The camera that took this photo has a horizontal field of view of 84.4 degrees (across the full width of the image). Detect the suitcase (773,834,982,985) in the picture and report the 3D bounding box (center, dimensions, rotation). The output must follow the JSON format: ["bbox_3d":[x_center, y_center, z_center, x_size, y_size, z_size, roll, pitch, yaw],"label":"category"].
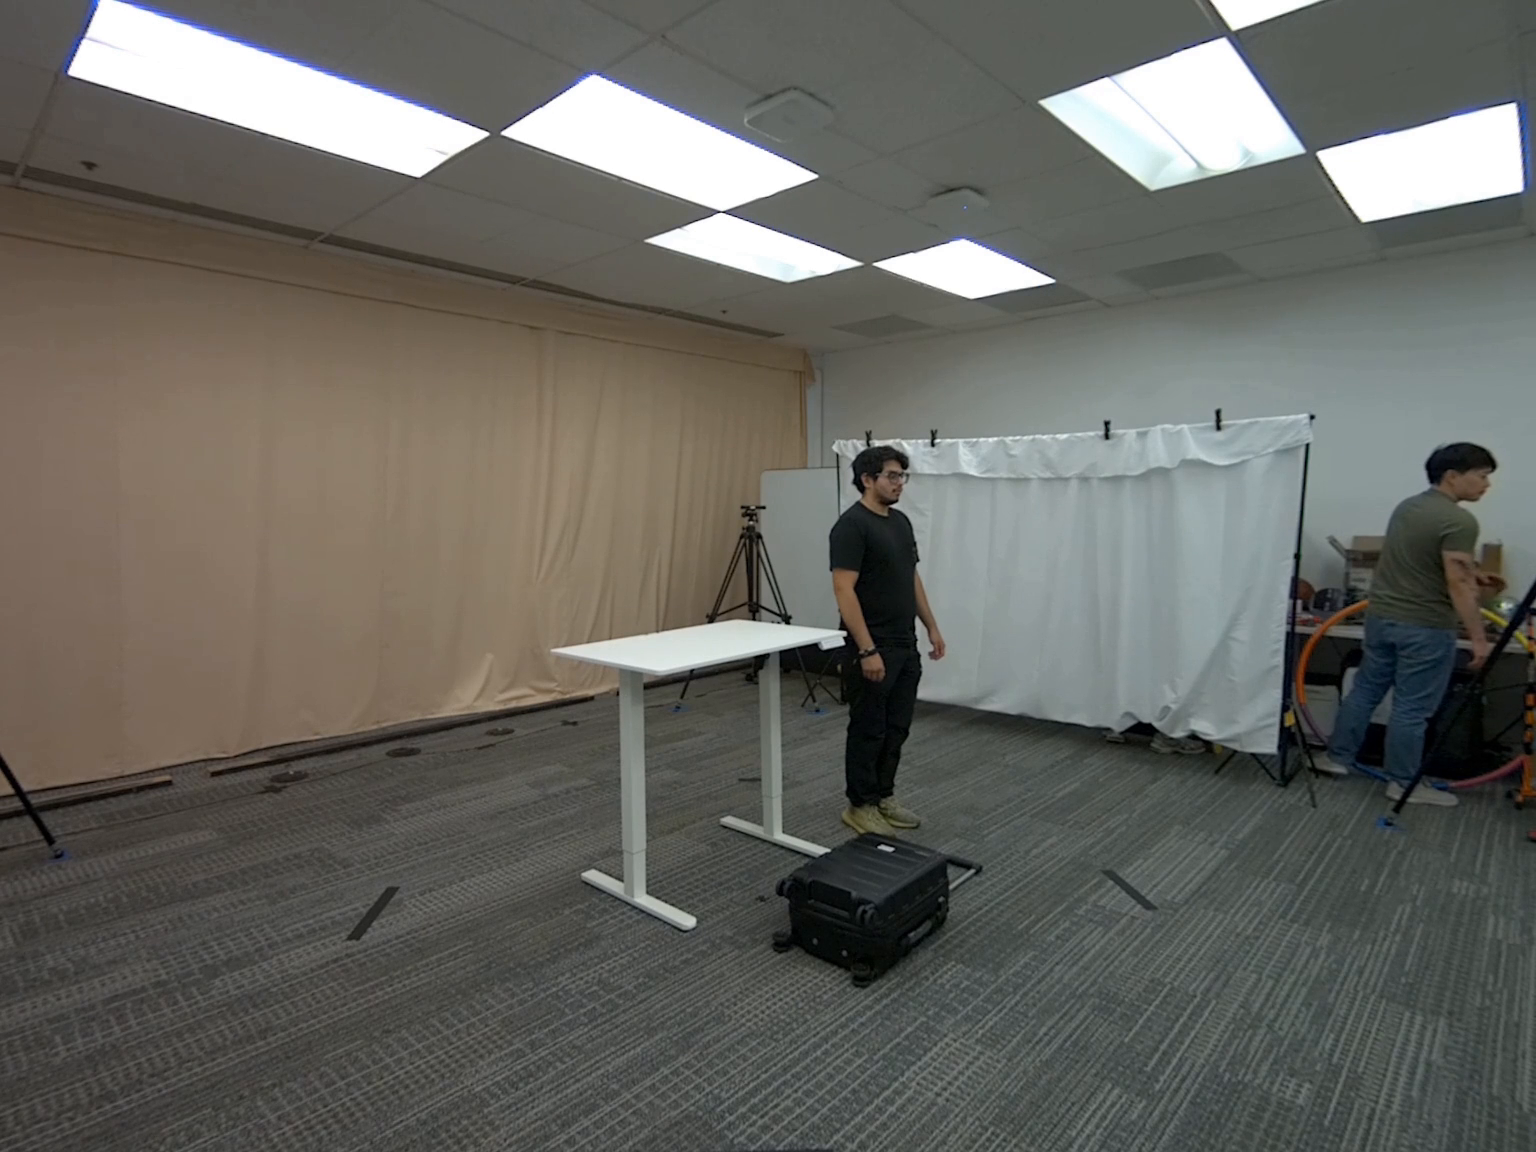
[{"bbox_3d":[0.457,1.027,2.873,0.396,0.256,0.950,2,6,39],"label":"suitcase"}]
